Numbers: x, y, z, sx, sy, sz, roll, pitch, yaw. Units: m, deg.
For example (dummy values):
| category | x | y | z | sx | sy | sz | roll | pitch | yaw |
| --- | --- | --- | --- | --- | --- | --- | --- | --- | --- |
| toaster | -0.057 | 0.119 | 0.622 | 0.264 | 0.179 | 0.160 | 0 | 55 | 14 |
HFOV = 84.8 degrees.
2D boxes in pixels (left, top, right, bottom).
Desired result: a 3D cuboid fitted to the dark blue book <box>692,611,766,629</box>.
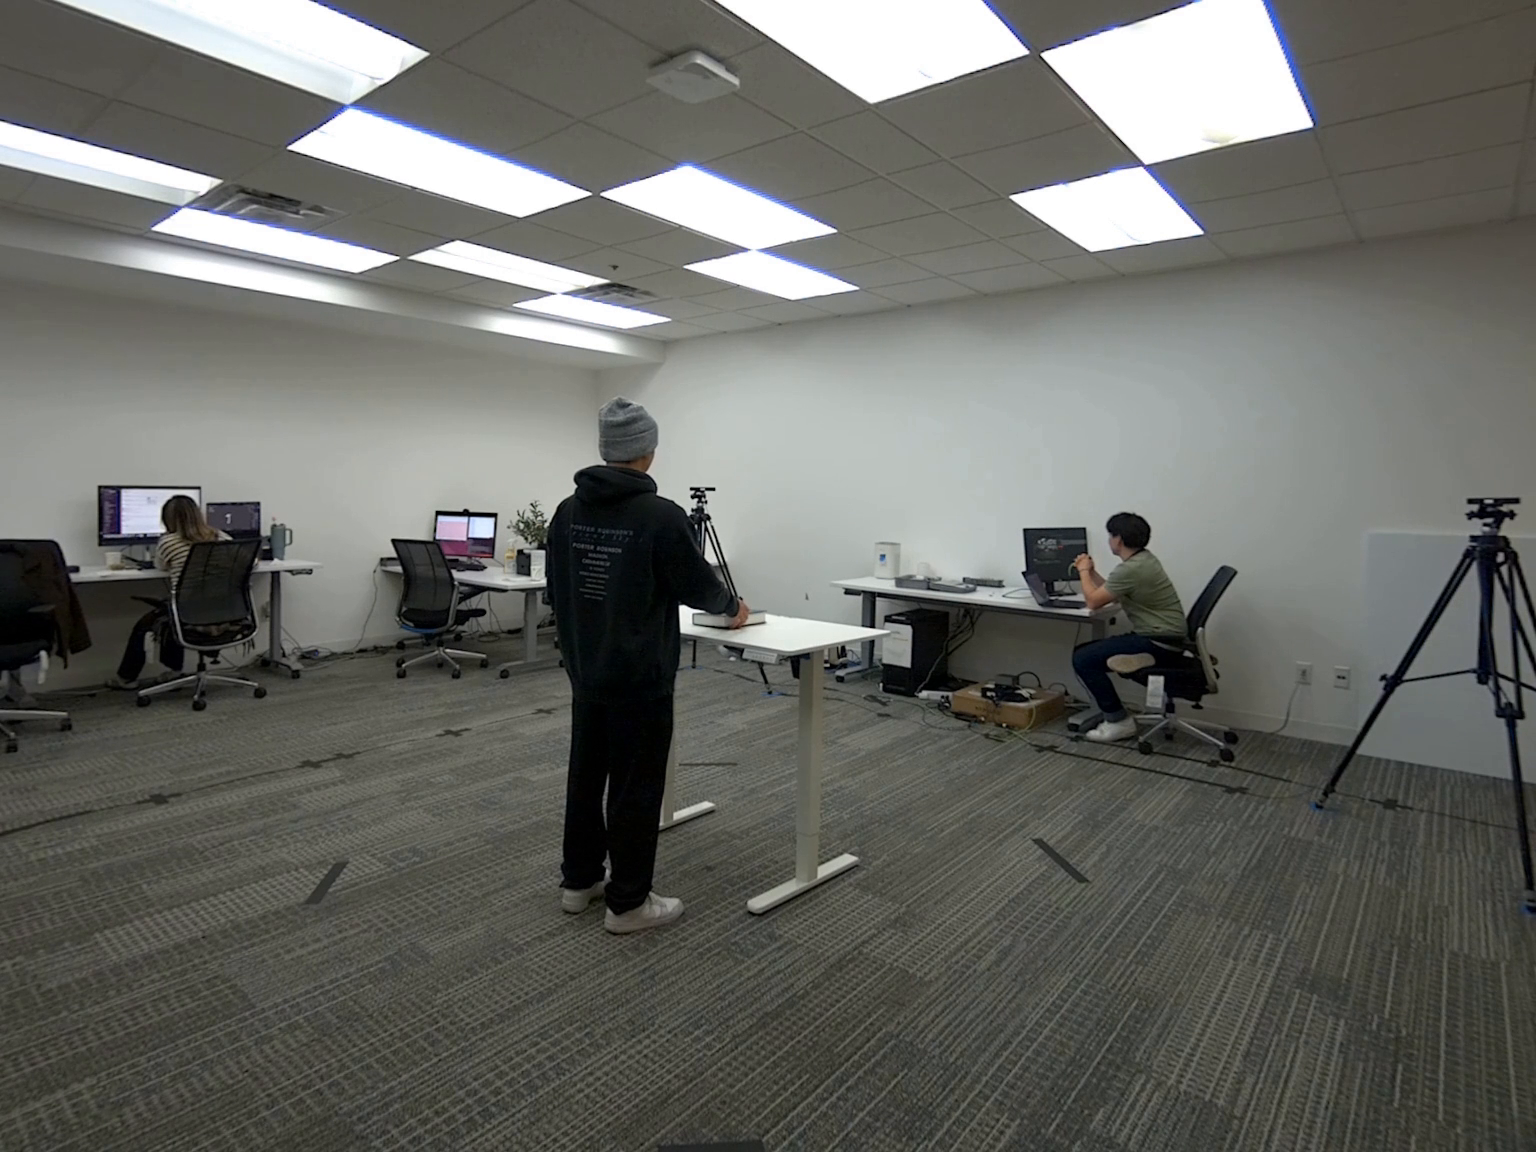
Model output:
| category | x | y | z | sx | sy | sz | roll | pitch | yaw |
| --- | --- | --- | --- | --- | --- | --- | --- | --- | --- |
| dark blue book | -0.153 | 0.156 | 3.197 | 0.169 | 0.045 | 0.238 | 4 | 5 | 42 |
